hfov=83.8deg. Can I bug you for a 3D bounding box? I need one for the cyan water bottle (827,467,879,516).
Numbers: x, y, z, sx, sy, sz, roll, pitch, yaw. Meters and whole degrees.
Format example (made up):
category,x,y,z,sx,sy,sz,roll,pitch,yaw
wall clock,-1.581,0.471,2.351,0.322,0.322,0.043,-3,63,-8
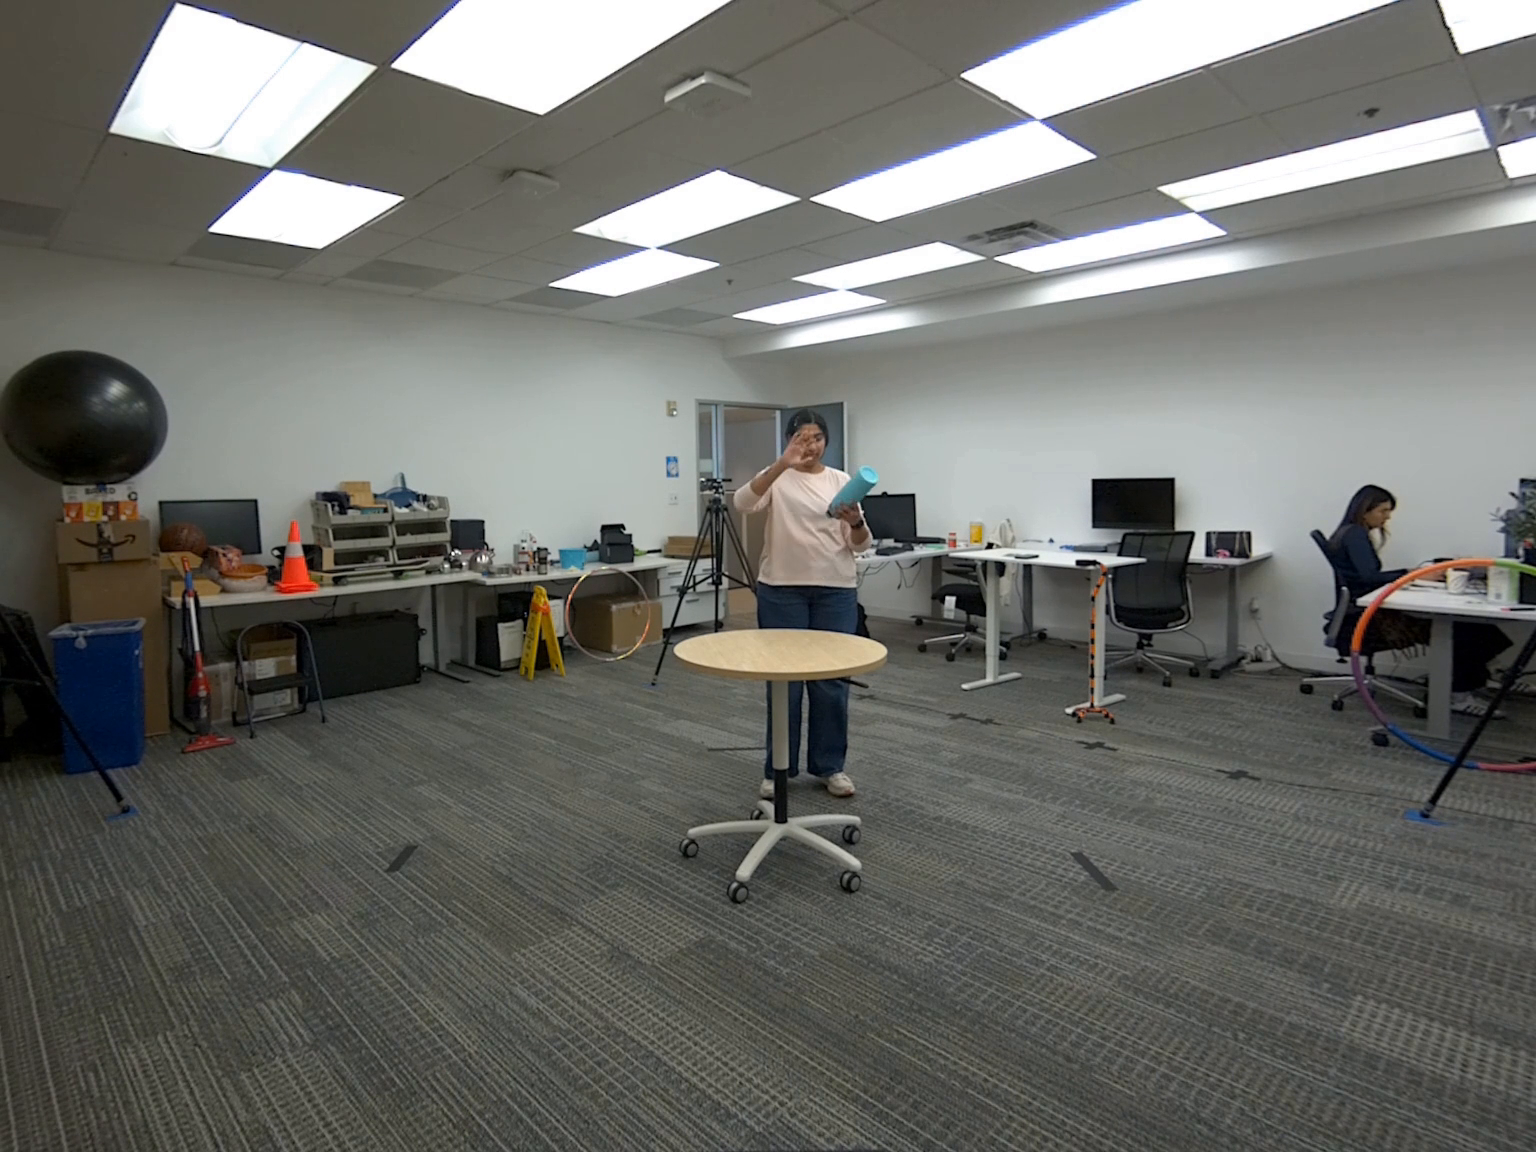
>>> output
category,x,y,z,sx,sy,sz,roll,pitch,yaw
cyan water bottle,0.324,-0.332,3.463,0.090,0.095,0.282,-3,-31,-33
